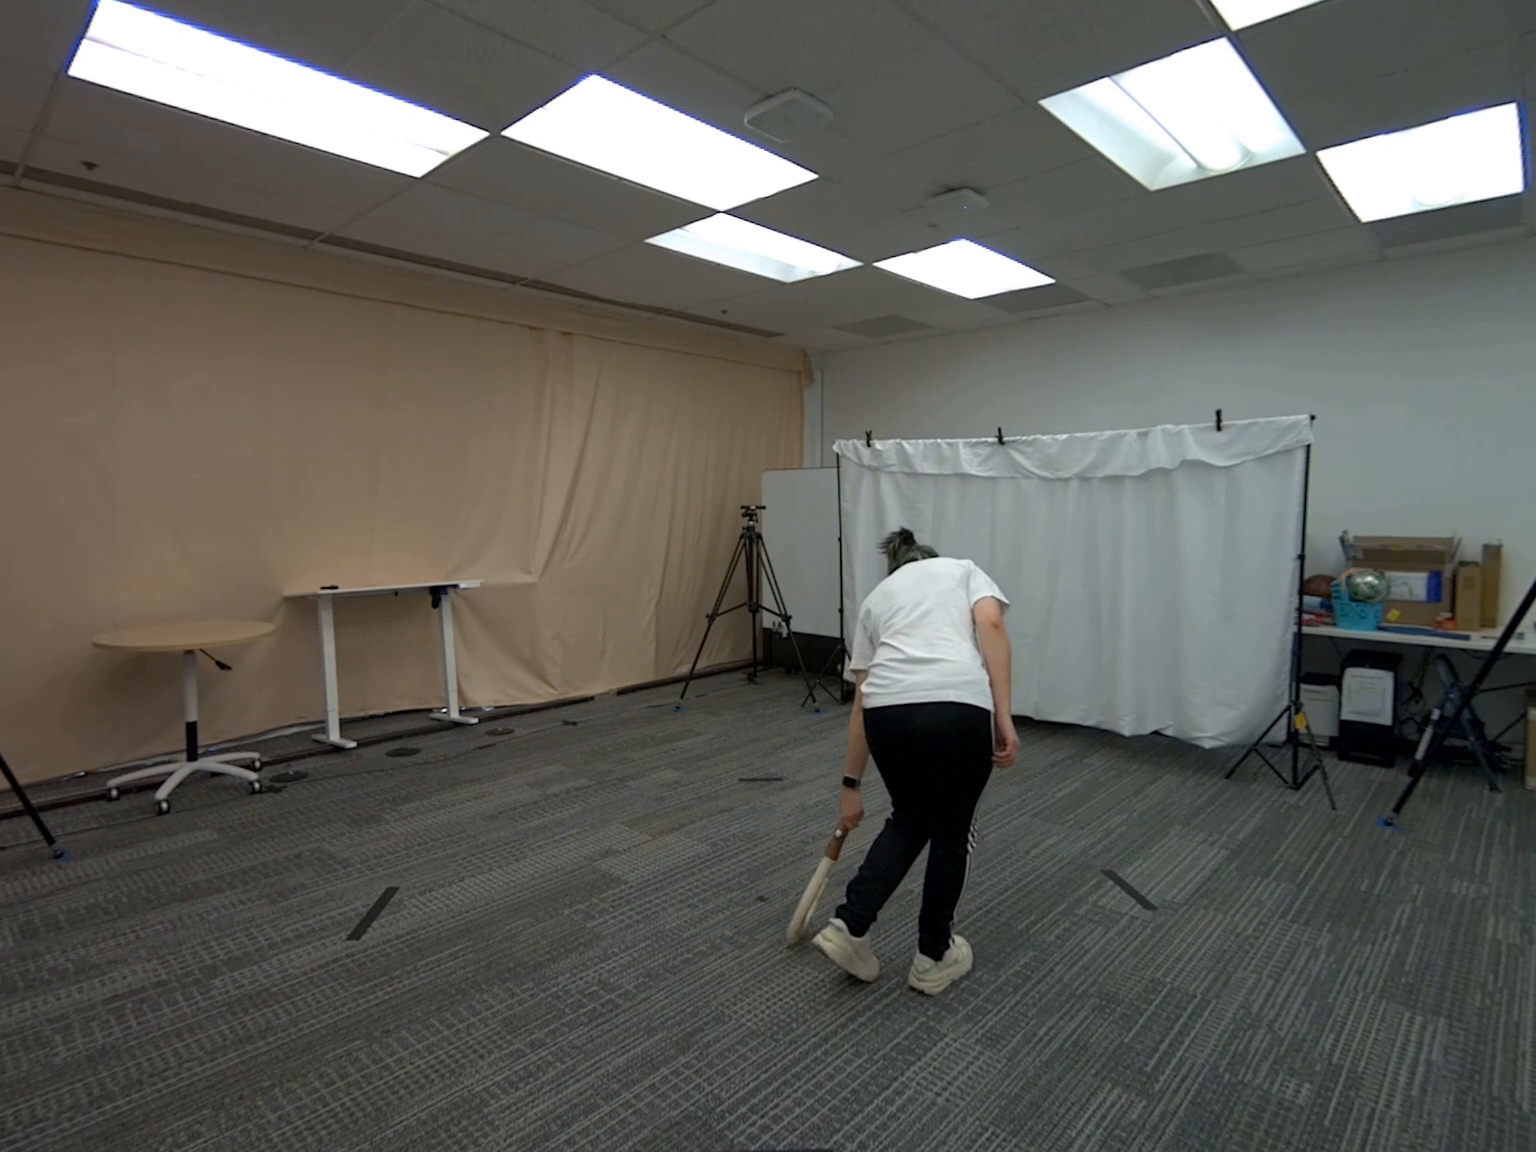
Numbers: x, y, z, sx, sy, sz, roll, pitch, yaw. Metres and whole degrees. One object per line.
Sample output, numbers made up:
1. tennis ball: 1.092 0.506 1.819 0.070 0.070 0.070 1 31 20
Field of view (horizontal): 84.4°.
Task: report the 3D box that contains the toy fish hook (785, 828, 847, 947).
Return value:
1. toy fish hook: 0.187 0.933 2.673 0.049 0.506 0.219 26 3 18
